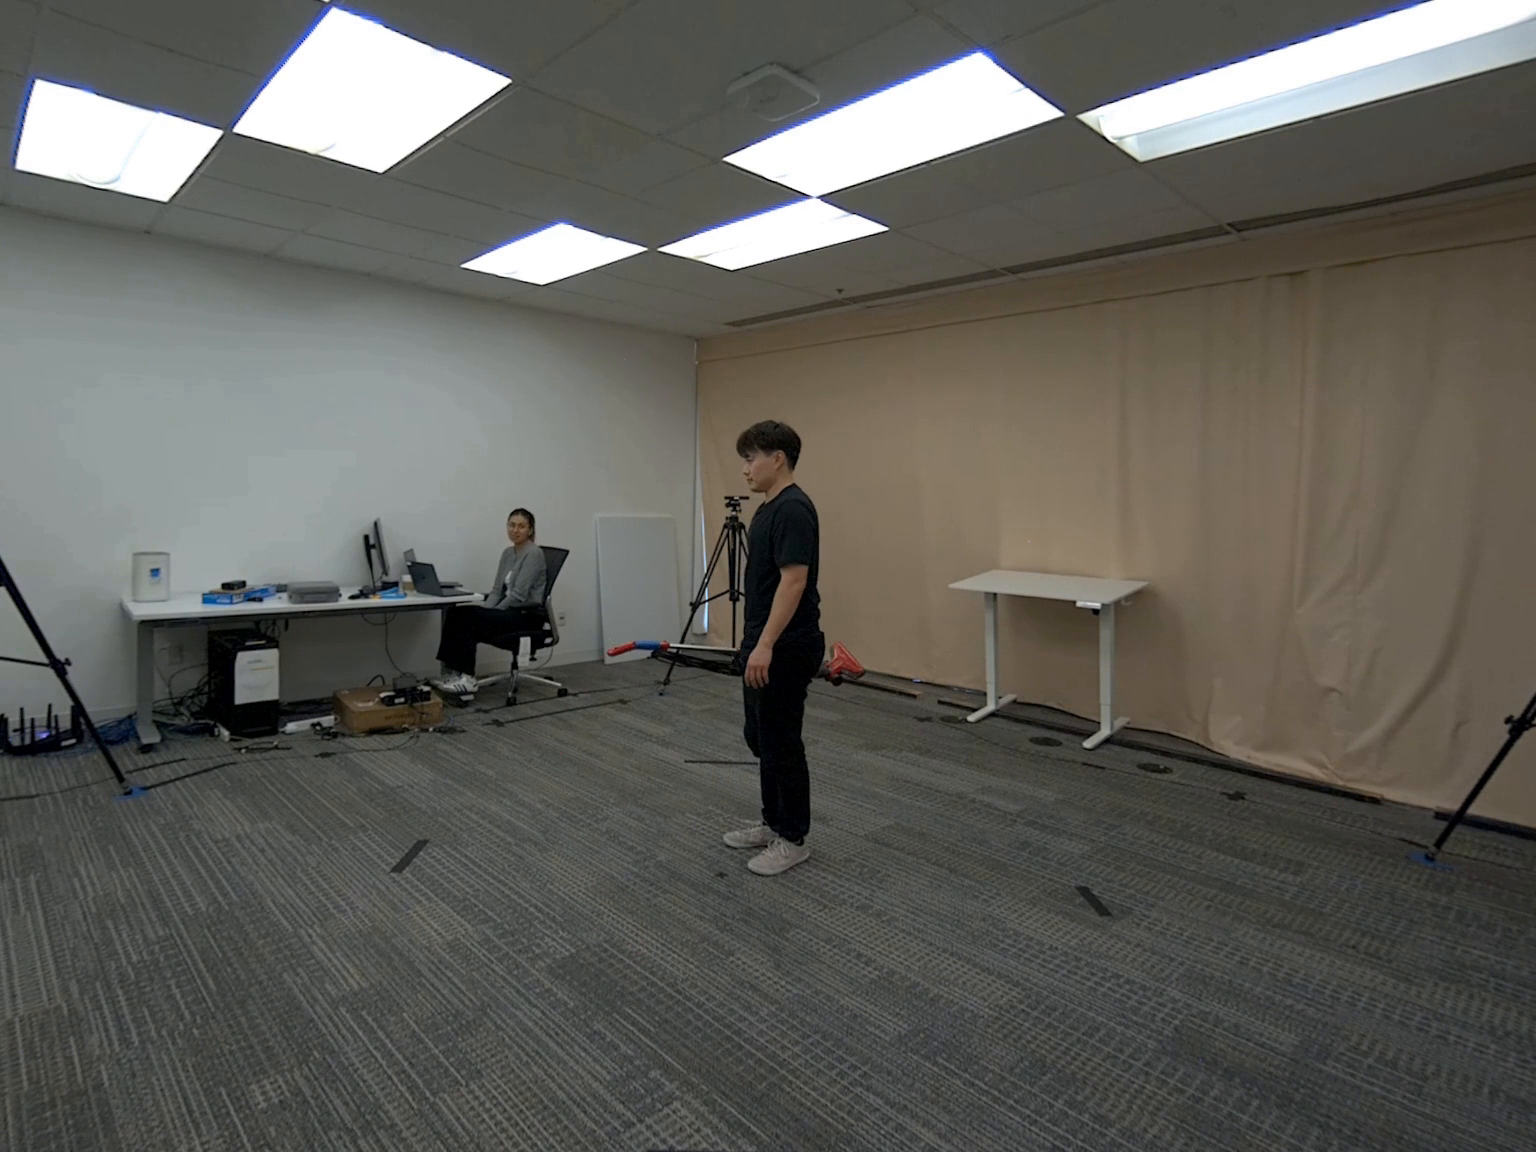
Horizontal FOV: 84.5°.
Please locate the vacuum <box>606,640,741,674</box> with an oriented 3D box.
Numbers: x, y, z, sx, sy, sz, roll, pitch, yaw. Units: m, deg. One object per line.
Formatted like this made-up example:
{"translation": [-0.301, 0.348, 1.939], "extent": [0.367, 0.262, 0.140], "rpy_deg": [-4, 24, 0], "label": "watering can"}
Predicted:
{"translation": [-0.150, 0.351, 3.449], "extent": [1.028, 0.142, 0.260], "rpy_deg": [6, 25, -25], "label": "vacuum"}
